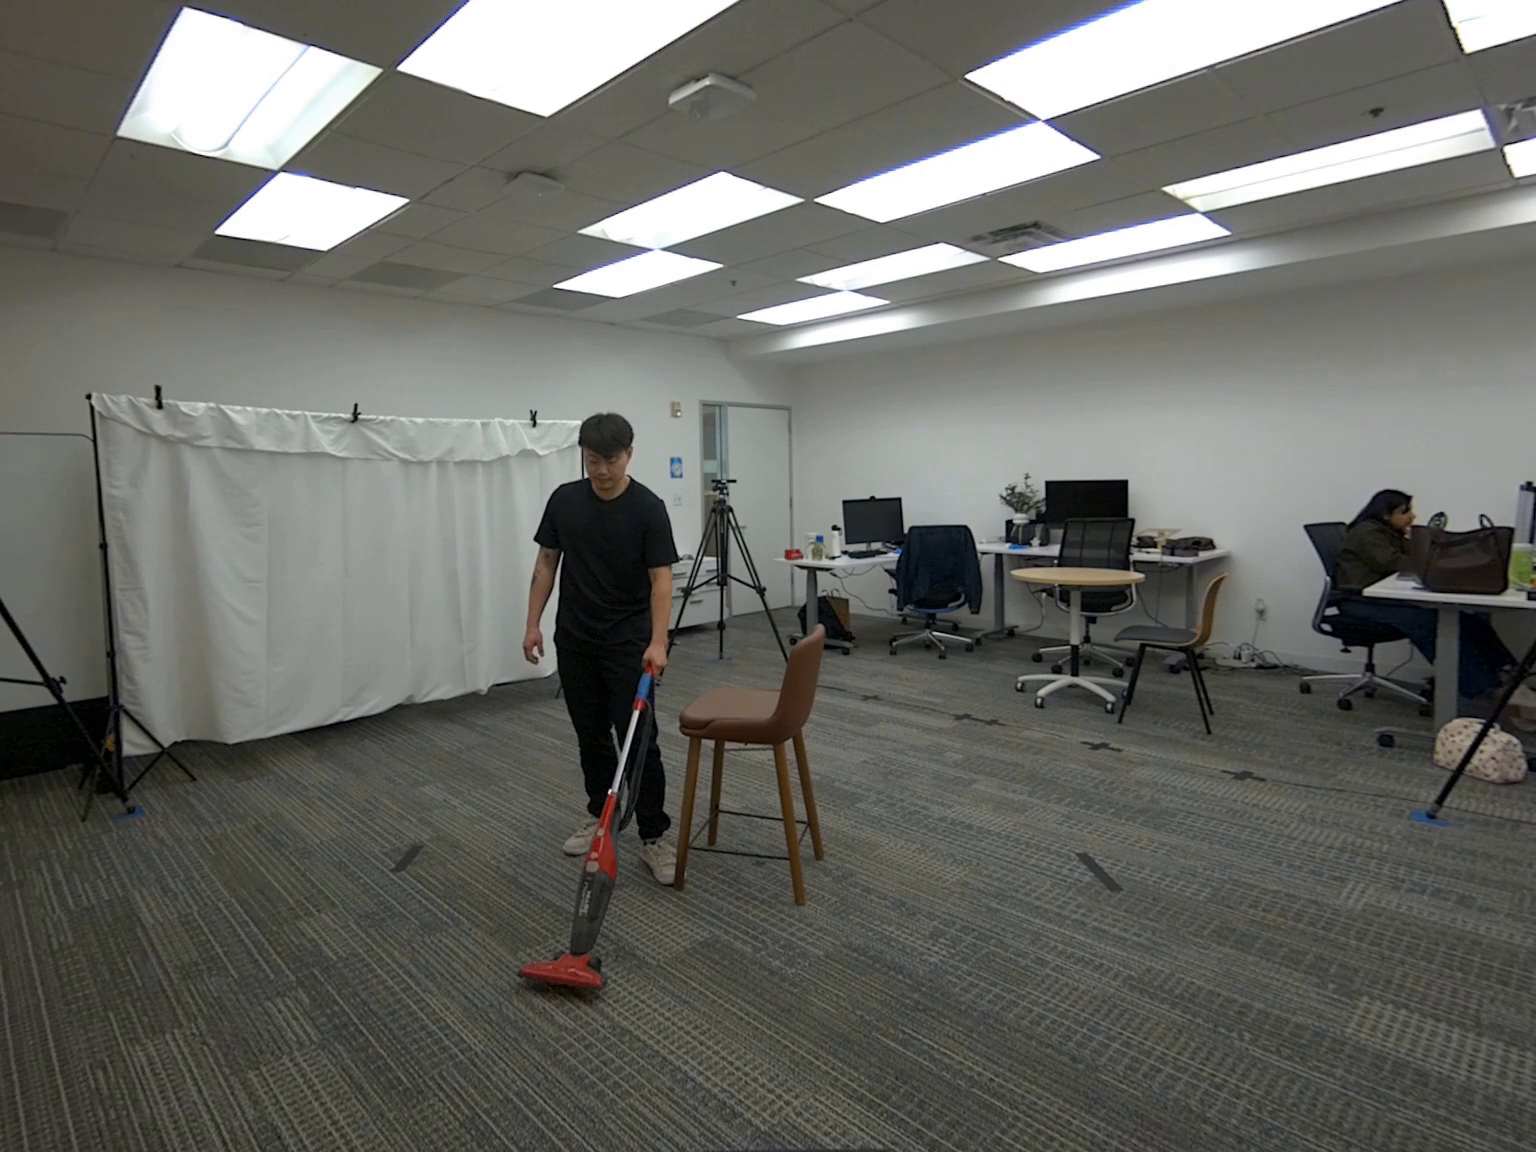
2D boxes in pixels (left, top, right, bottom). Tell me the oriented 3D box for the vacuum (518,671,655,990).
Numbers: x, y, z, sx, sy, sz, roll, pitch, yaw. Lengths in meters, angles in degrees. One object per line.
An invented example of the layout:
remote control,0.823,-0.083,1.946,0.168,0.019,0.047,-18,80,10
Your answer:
vacuum,-0.482,0.721,2.719,0.256,1.070,0.139,1,-40,13
